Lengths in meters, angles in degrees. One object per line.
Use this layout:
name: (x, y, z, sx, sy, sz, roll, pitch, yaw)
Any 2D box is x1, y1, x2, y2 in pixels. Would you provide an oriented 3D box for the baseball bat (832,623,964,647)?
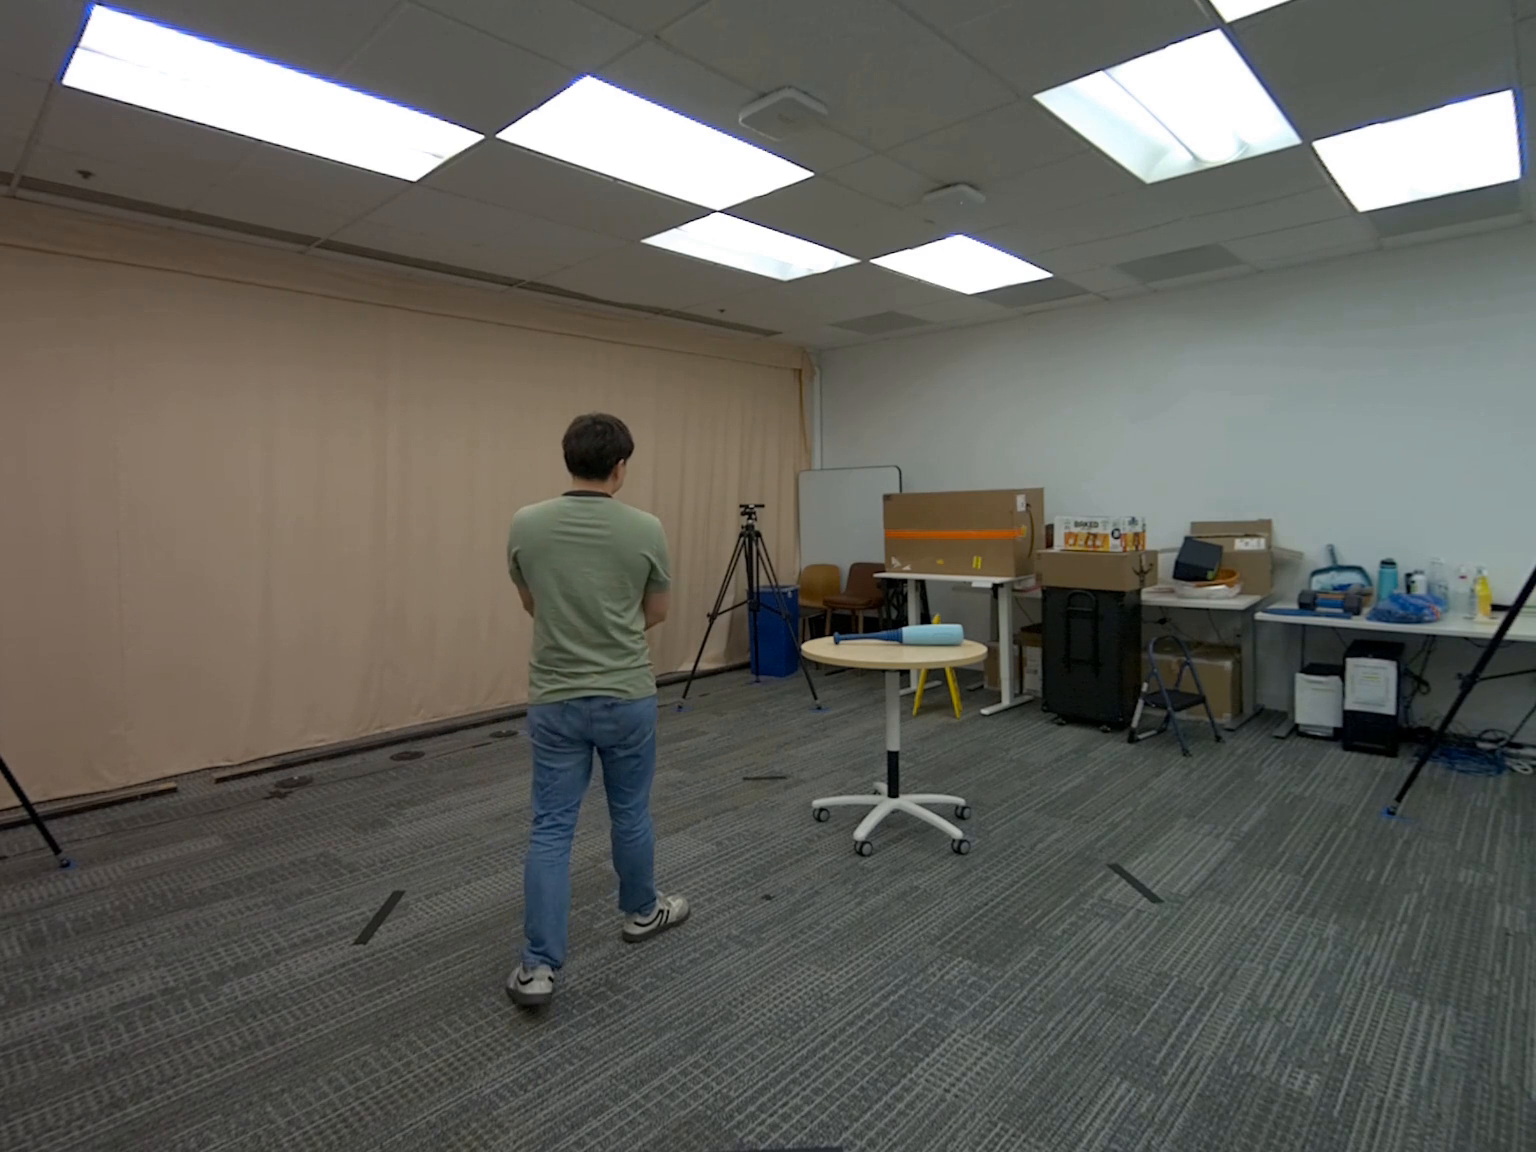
baseball bat: (0.560, 0.261, 3.597, 0.549, 0.089, 0.088, -3, 4, 11)
